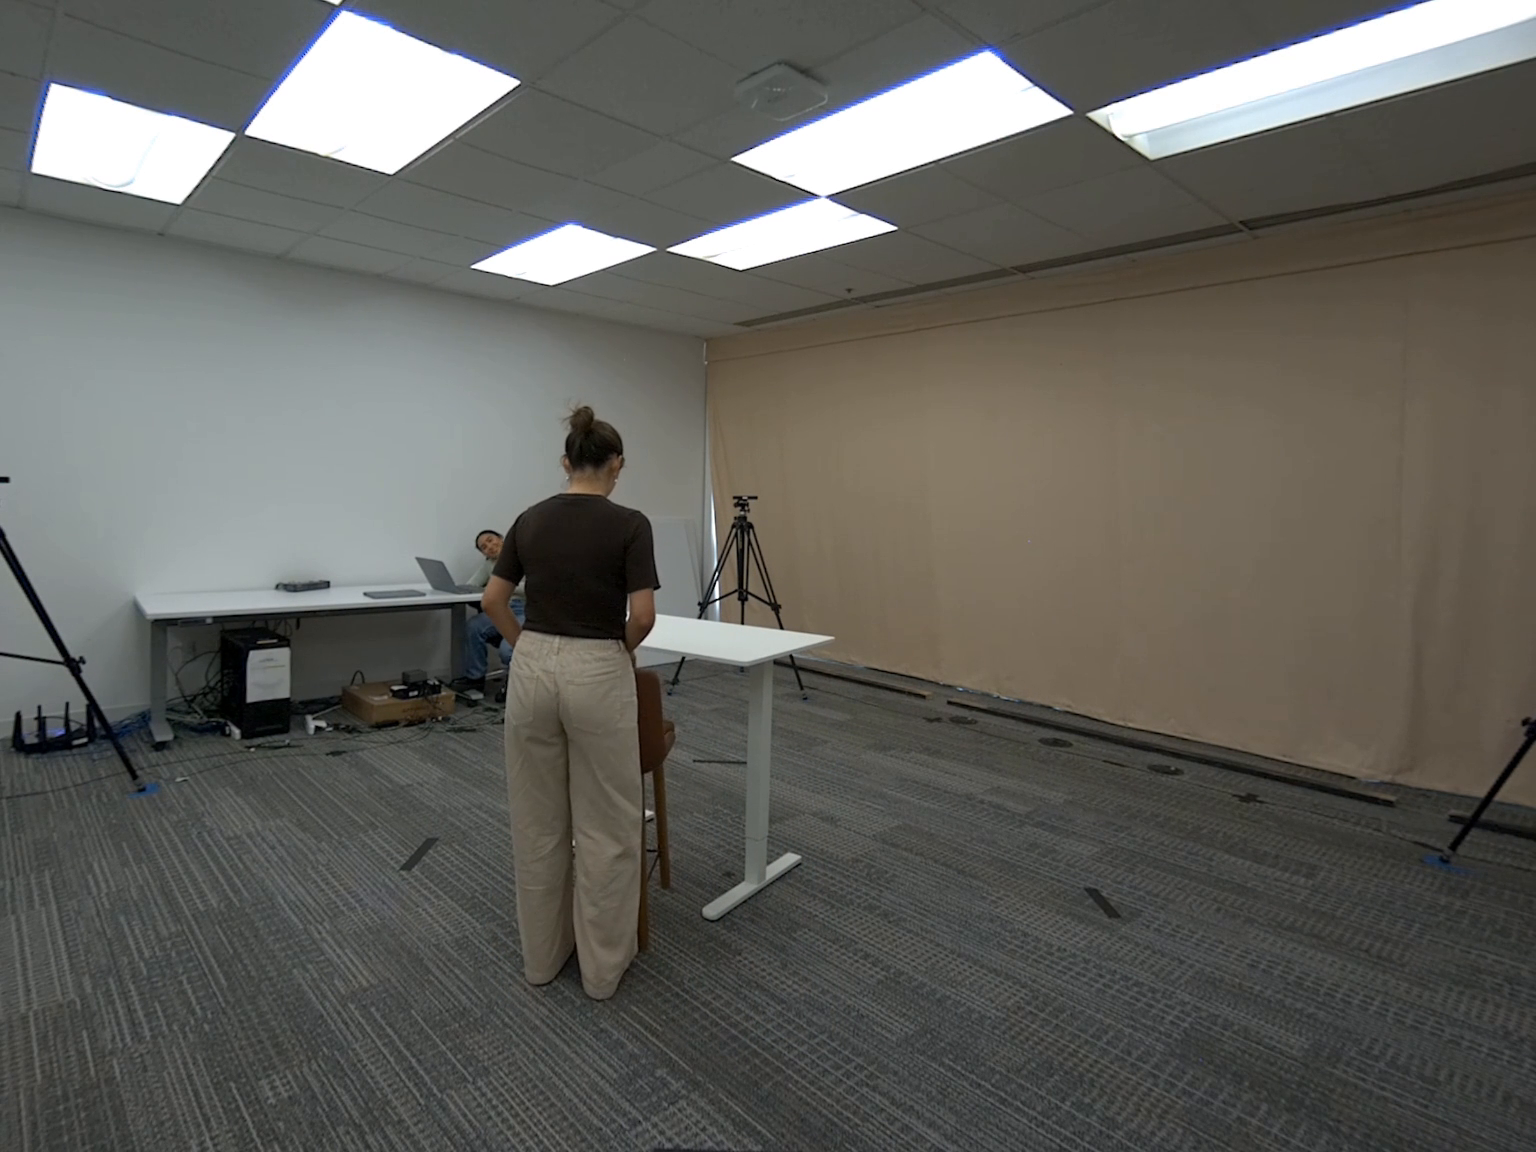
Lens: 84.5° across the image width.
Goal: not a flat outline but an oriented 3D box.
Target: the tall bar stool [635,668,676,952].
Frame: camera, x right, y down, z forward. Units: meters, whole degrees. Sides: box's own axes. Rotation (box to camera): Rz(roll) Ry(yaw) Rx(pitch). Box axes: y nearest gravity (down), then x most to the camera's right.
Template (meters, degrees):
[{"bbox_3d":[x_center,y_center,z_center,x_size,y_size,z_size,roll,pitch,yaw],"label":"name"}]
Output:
[{"bbox_3d":[-0.543,0.693,2.752,0.457,0.886,0.469,2,6,2],"label":"tall bar stool"}]
